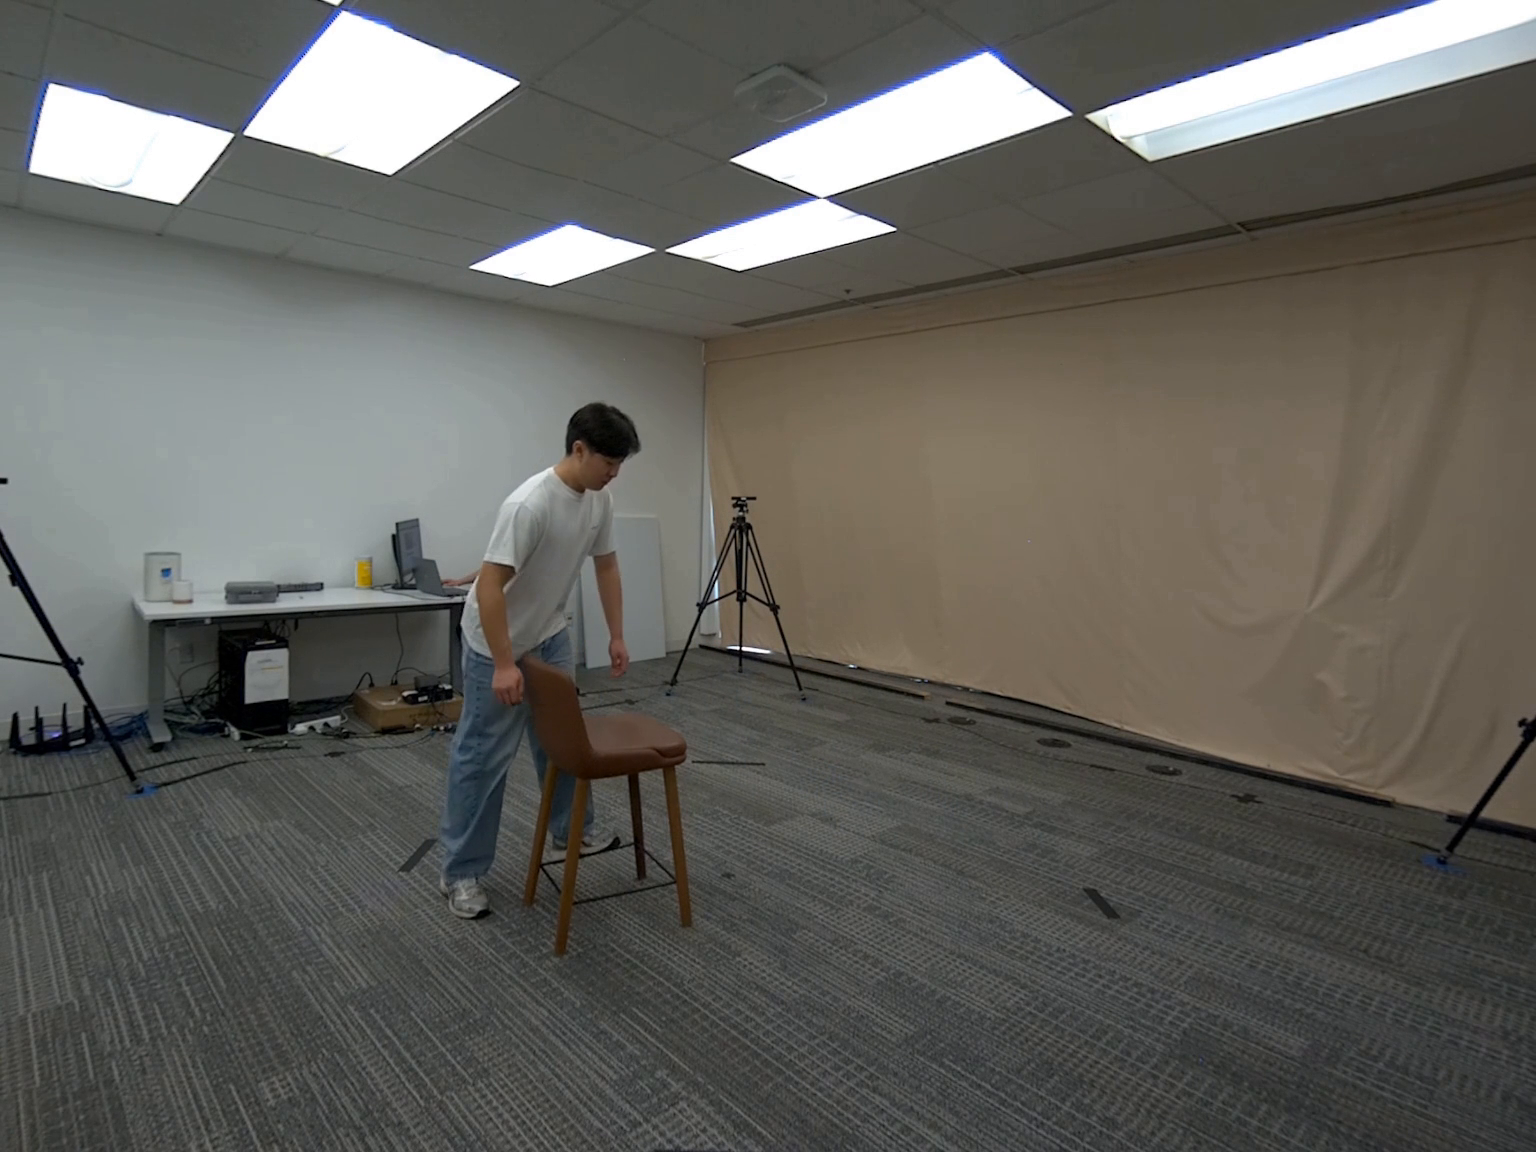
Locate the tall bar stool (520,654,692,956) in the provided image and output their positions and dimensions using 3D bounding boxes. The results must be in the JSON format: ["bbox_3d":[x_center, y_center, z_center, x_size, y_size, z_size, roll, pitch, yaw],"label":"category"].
[{"bbox_3d":[-0.541,0.692,2.770,0.458,0.887,0.467,-2,5,-31],"label":"tall bar stool"}]
